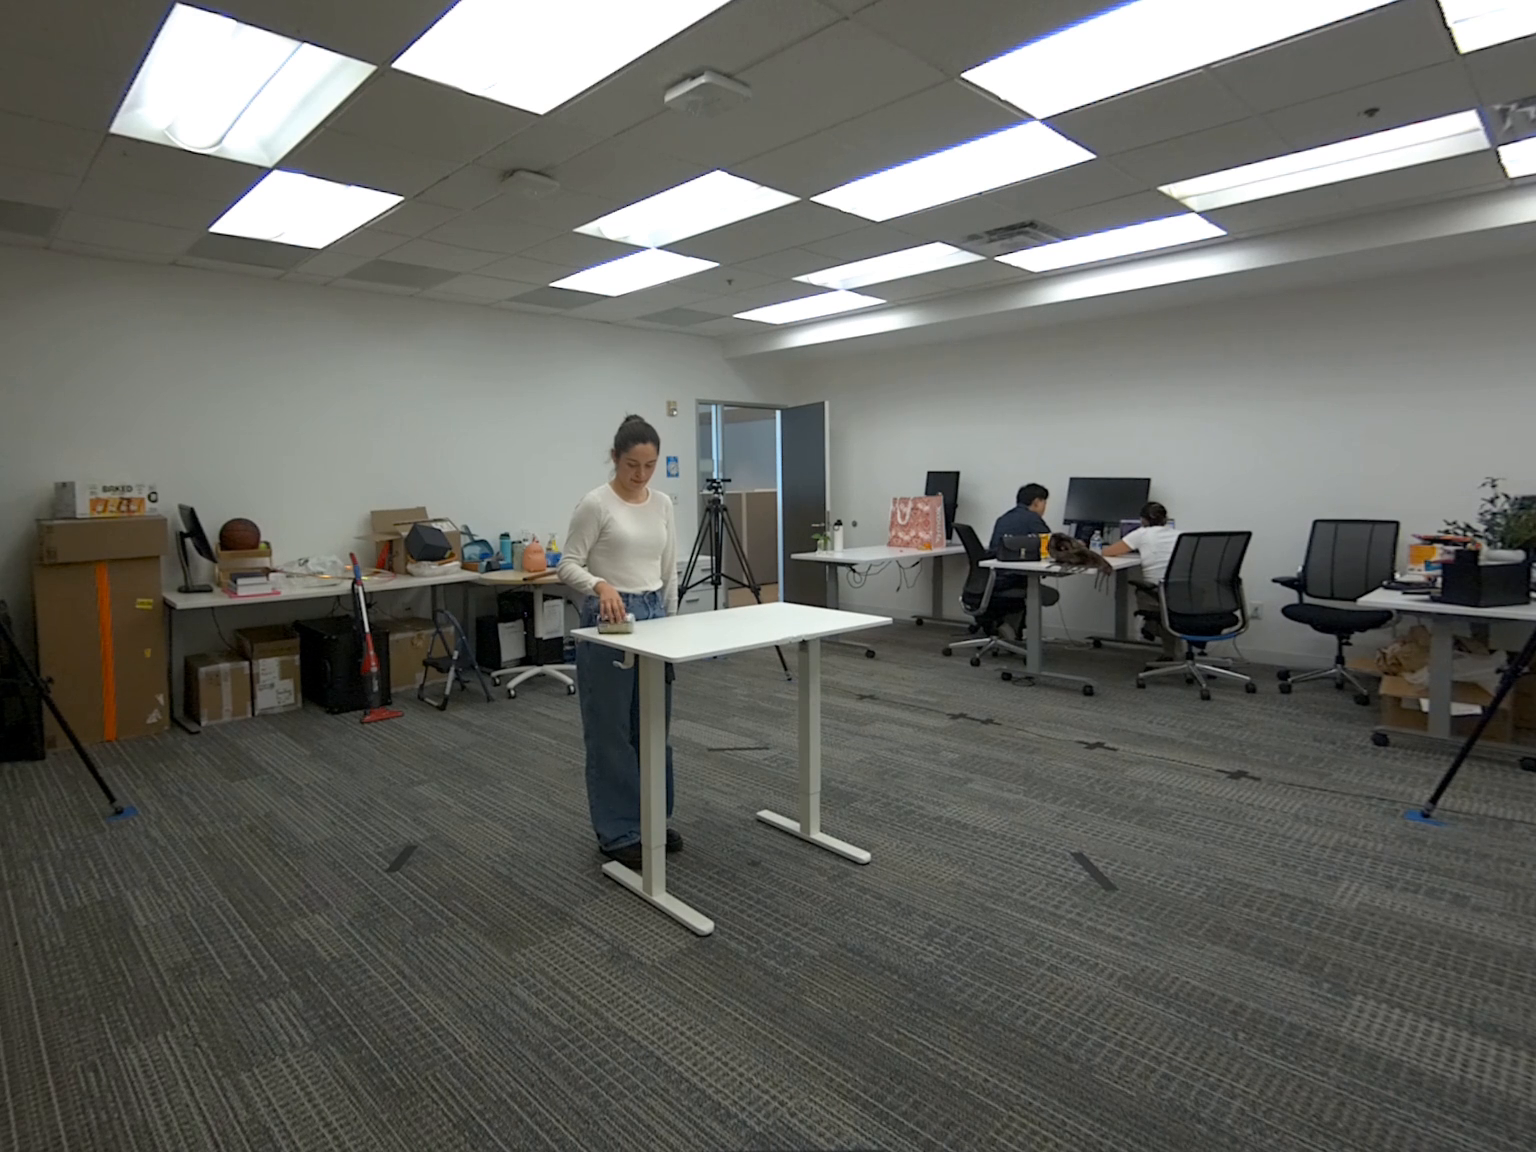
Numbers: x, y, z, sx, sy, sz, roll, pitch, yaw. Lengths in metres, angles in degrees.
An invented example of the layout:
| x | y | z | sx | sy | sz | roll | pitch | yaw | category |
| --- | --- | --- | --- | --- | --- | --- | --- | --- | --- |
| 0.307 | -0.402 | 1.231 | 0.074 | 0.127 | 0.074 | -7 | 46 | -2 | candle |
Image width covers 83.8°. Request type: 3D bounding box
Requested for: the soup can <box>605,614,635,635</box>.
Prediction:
| x | y | z | sx | sy | sz | roll | pitch | yaw | category |
| --- | --- | --- | --- | --- | --- | --- | --- | --- | --- |
| -0.489 | 0.154 | 2.907 | 0.066 | 0.067 | 0.123 | -2 | 7 | -9 | soup can |
